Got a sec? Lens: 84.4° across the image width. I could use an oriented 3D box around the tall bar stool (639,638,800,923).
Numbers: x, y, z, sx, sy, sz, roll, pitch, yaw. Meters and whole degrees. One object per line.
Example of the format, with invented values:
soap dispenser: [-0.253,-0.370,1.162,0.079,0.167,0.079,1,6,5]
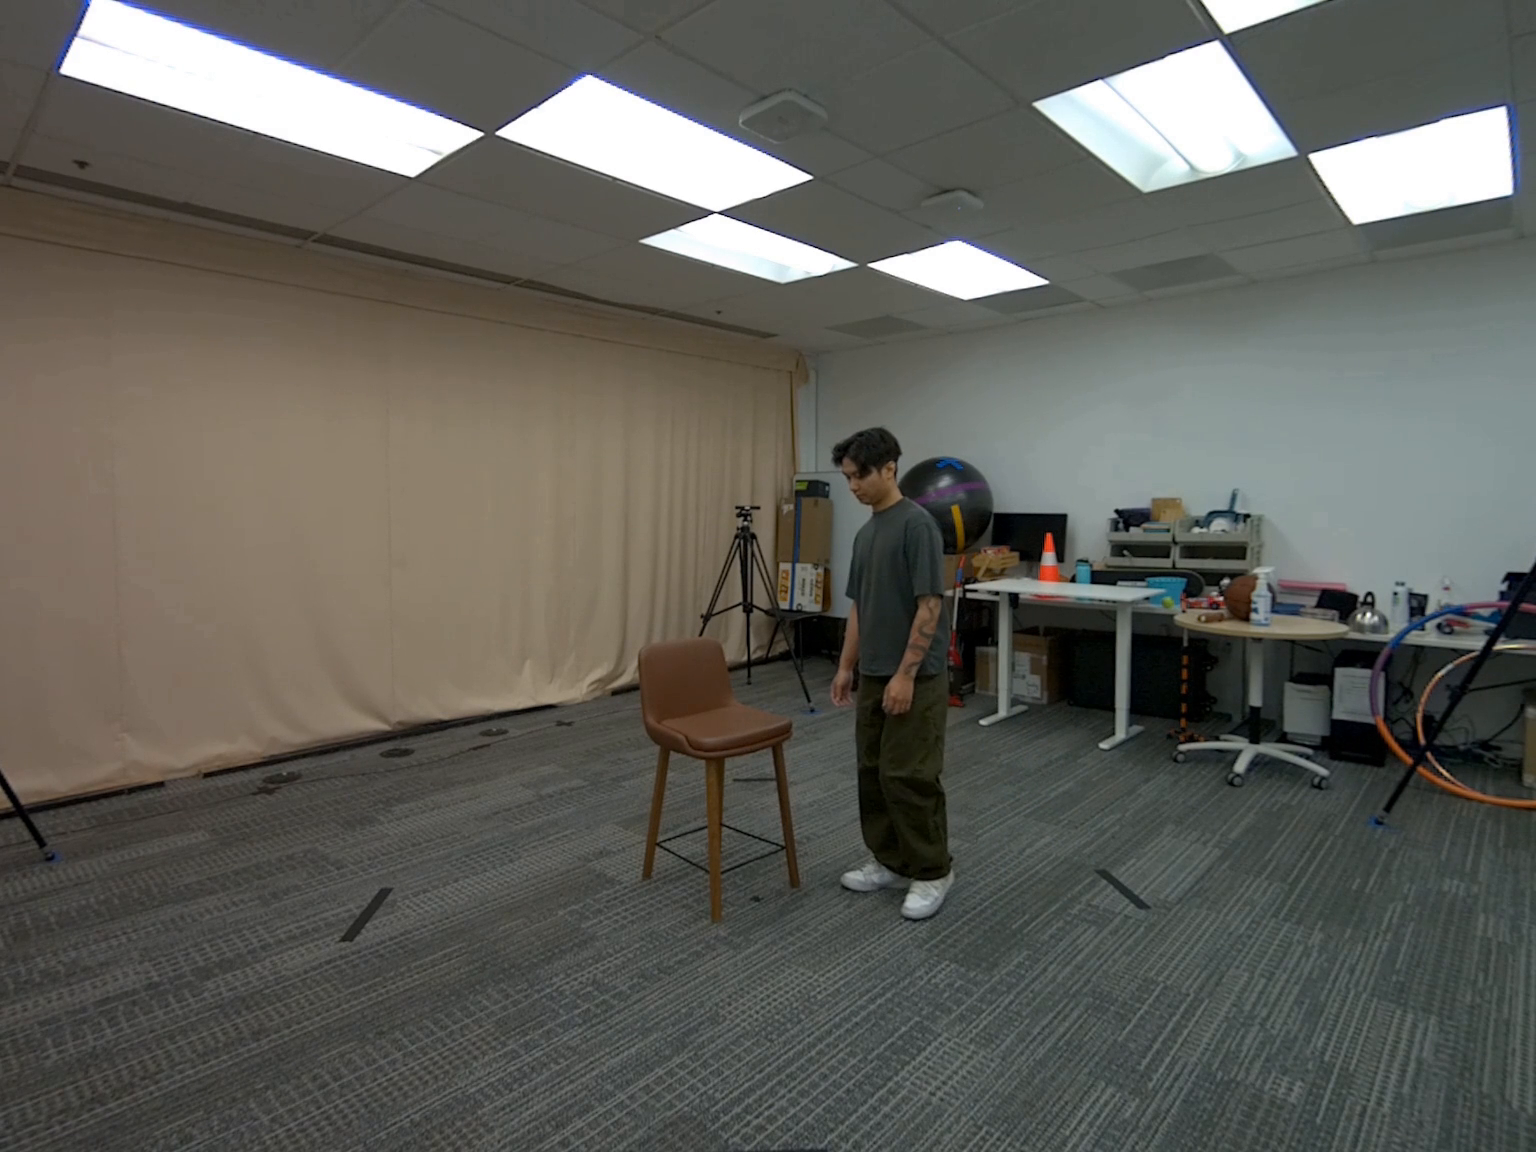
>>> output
tall bar stool: [-0.188,0.704,3.094,0.442,0.889,0.483,-3,2,-42]
